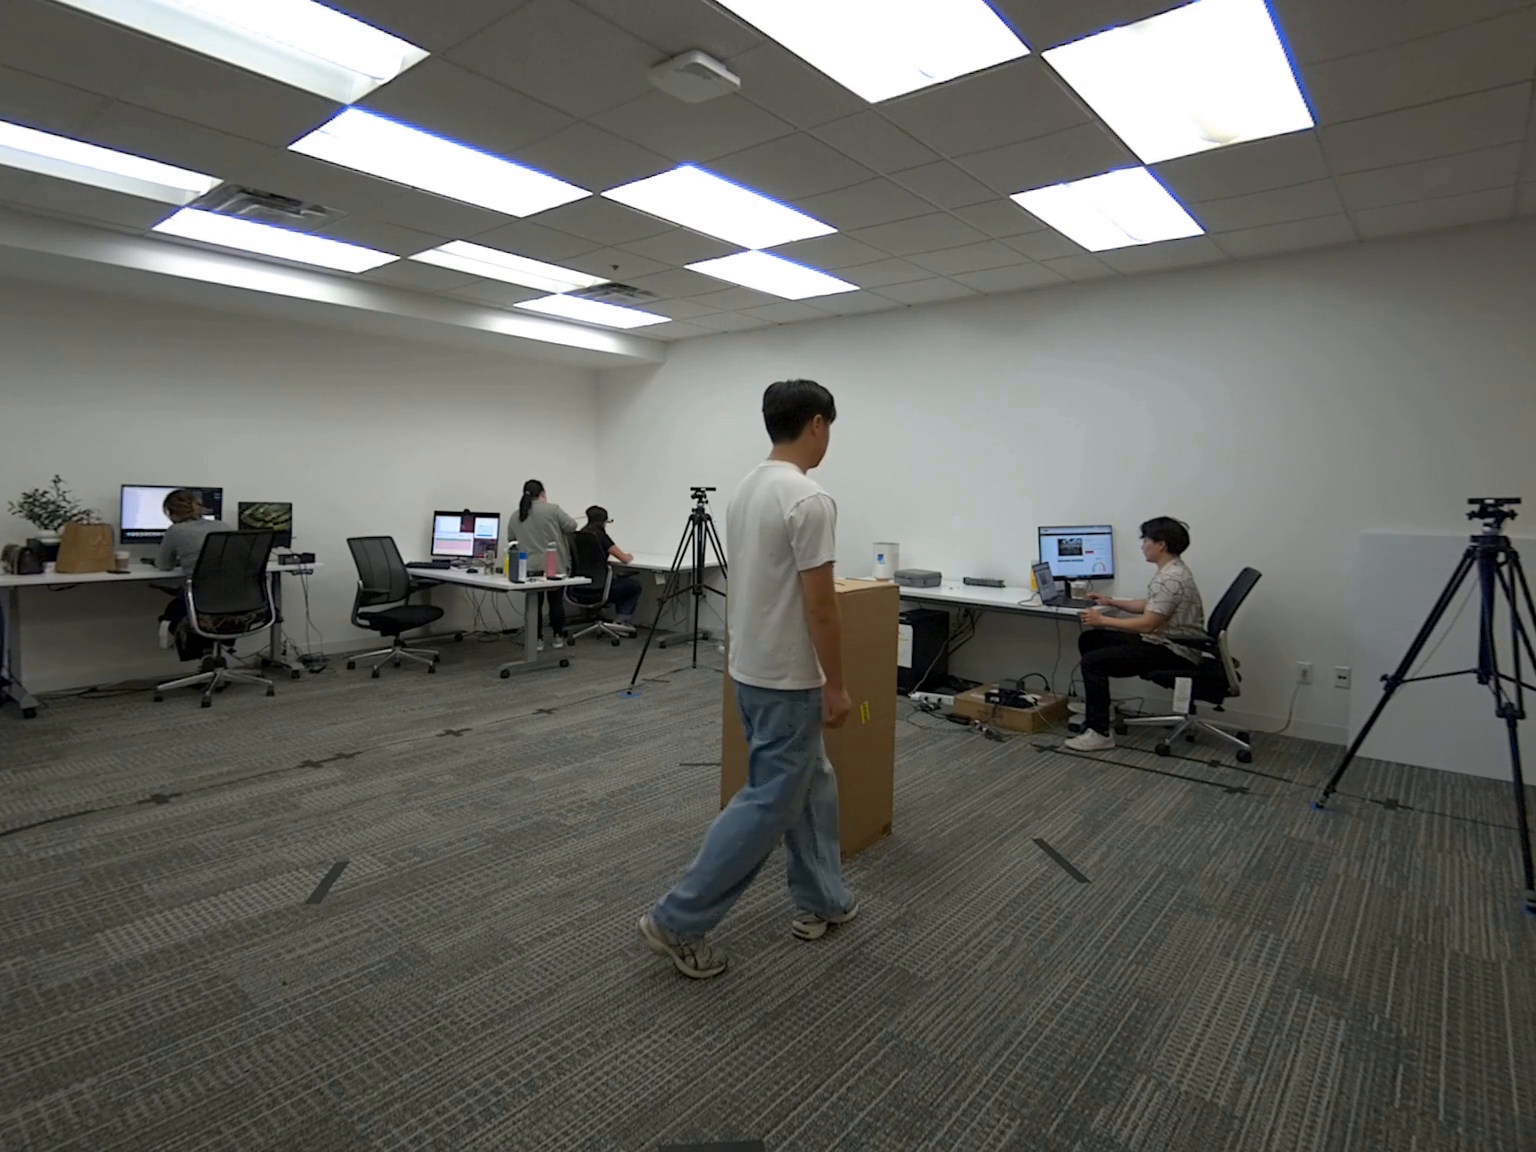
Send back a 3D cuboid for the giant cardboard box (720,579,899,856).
[{"bbox_3d":[0.157,0.530,3.479,0.597,1.023,0.413,4,4,39],"label":"giant cardboard box"}]
